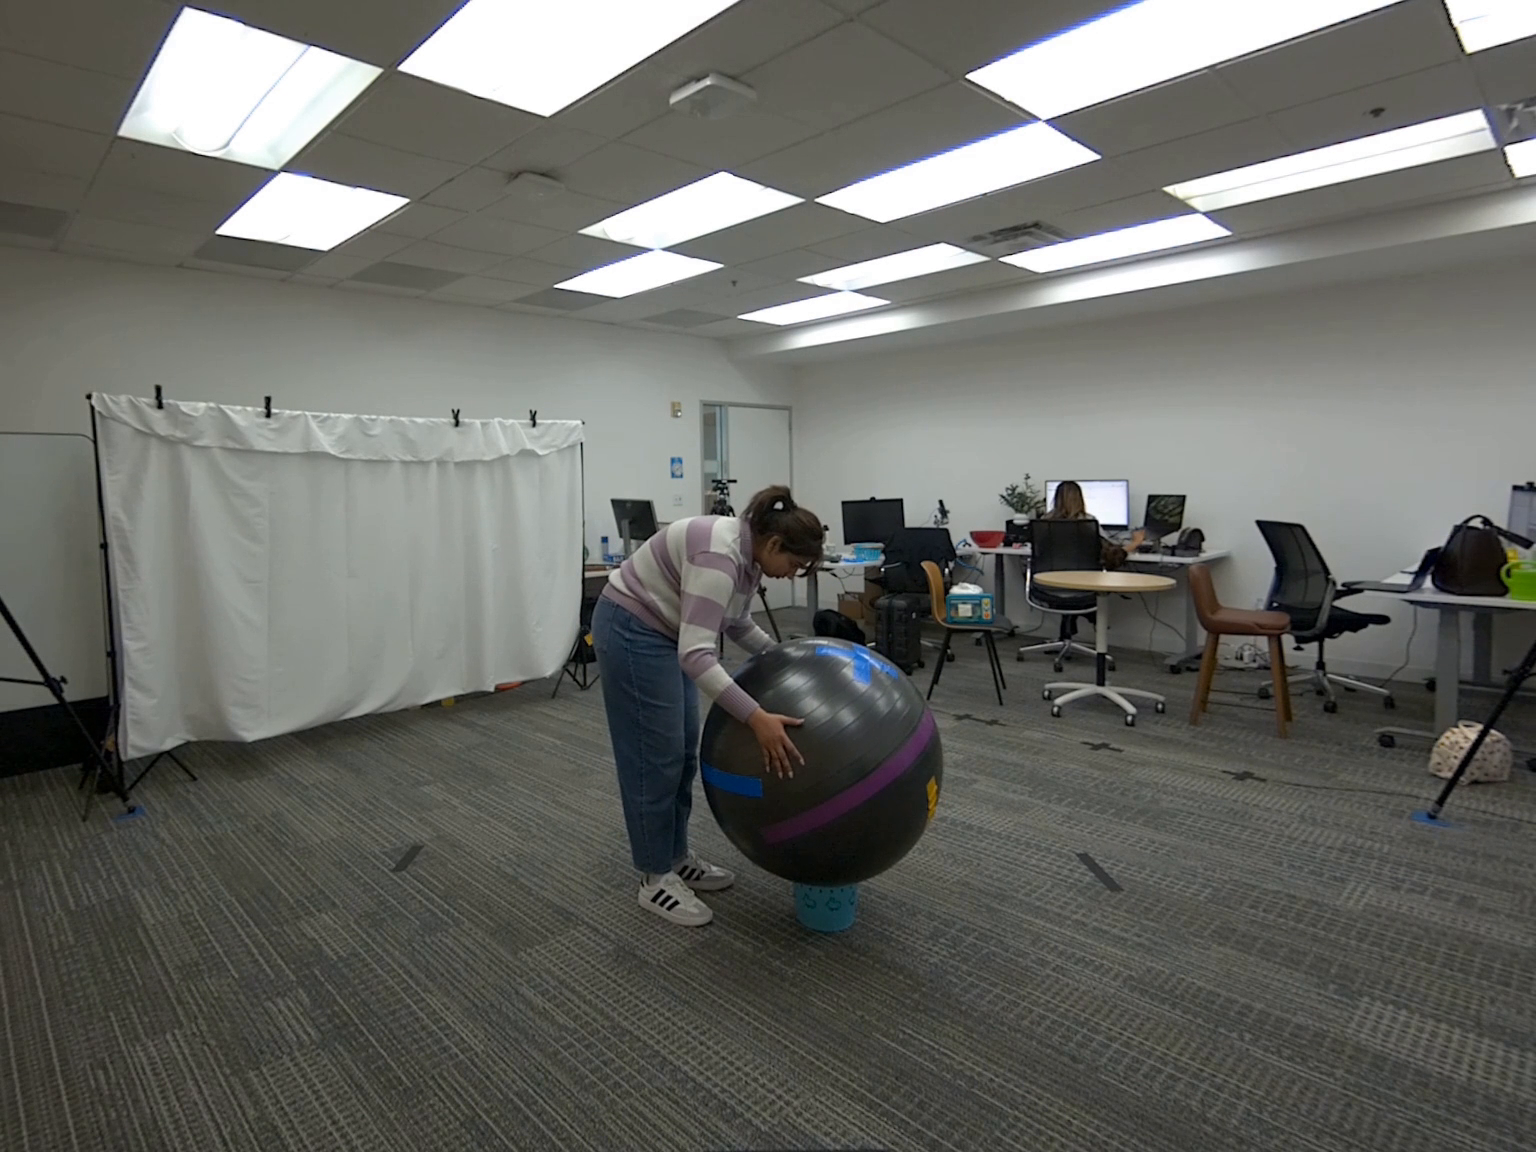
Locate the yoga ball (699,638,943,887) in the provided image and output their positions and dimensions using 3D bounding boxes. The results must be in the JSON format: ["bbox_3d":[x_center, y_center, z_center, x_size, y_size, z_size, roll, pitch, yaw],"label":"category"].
[{"bbox_3d":[0.170,0.585,2.688,0.757,0.755,0.762,-1,5,-2],"label":"yoga ball"}]
